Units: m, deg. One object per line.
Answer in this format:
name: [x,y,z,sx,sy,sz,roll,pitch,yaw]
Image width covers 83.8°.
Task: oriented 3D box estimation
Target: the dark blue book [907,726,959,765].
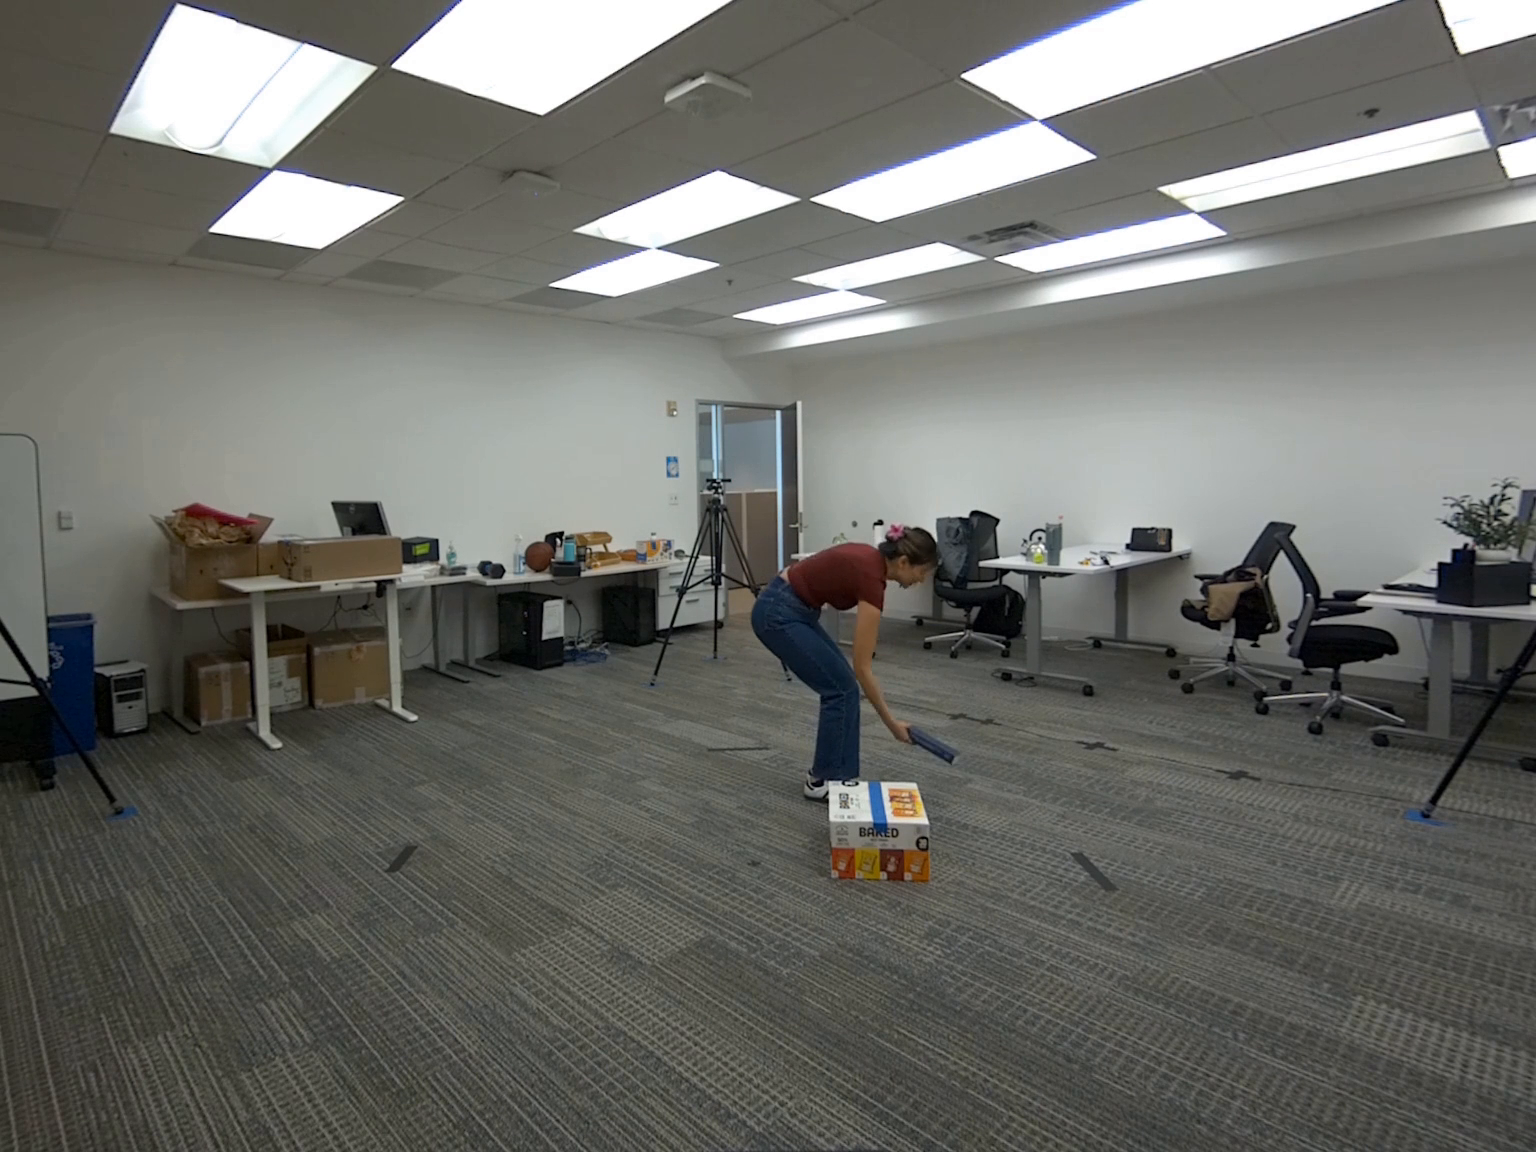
dark blue book: [0.685,0.689,3.628,0.253,0.045,0.159,27,7,27]
